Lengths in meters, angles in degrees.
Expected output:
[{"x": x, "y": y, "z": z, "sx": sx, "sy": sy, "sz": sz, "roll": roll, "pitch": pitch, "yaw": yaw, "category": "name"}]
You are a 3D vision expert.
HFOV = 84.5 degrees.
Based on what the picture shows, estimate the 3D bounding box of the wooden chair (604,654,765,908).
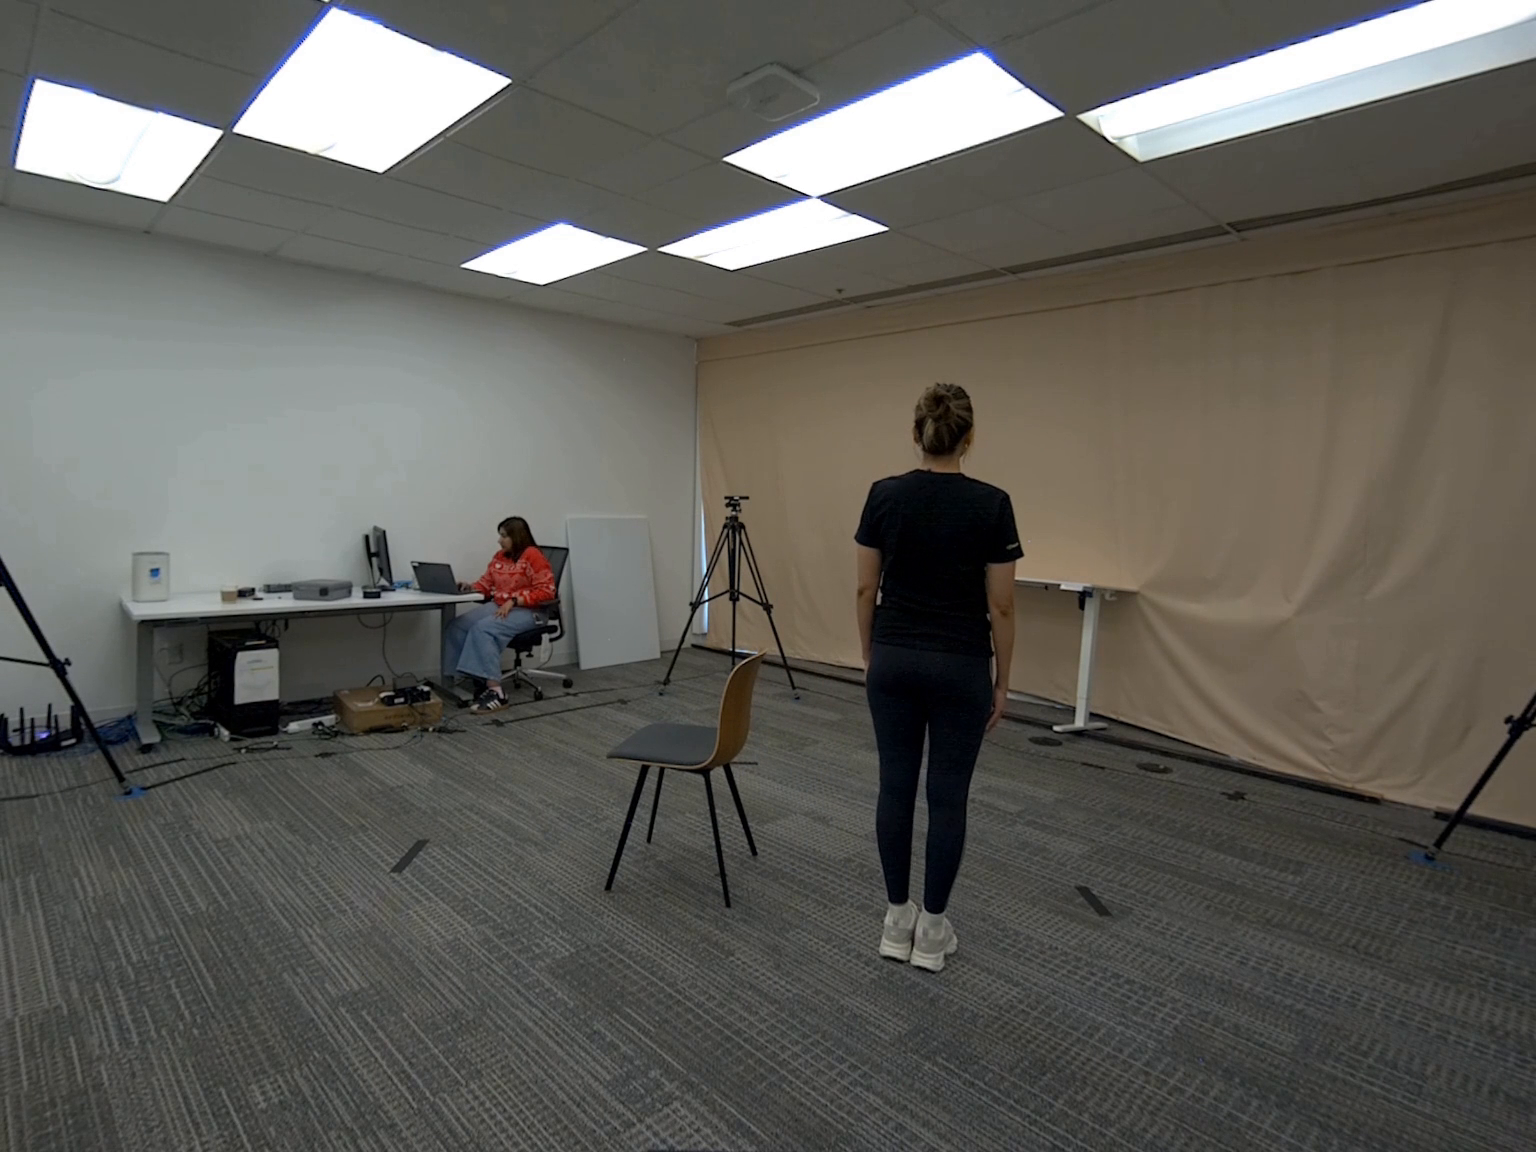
[{"x": -0.310, "y": 0.673, "z": 3.087, "sx": 0.529, "sy": 0.875, "sz": 0.474, "roll": 6, "pitch": 5, "yaw": 13, "category": "wooden chair"}]
